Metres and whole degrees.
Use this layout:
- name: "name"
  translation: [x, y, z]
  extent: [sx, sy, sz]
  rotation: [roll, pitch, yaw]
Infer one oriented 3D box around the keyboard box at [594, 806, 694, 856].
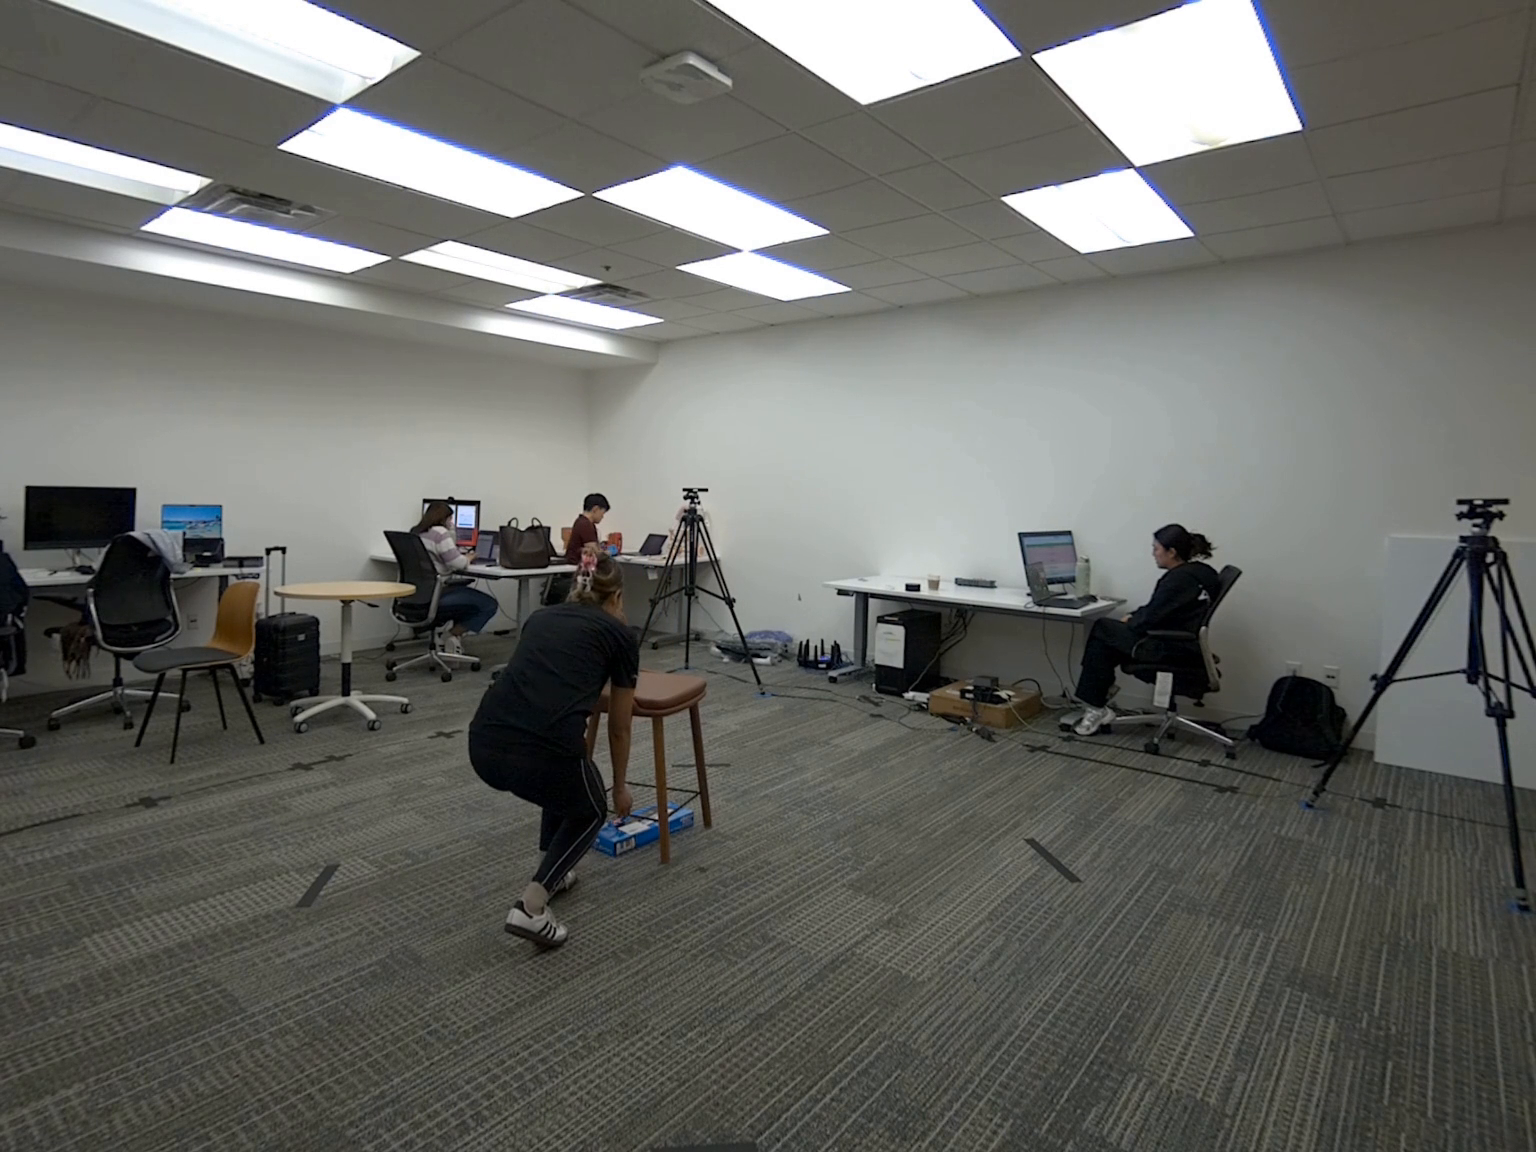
- name: "keyboard box"
  translation: [-0.520, 1.009, 3.410]
  extent: [0.182, 0.059, 0.424]
  rotation: [5, 7, 39]
